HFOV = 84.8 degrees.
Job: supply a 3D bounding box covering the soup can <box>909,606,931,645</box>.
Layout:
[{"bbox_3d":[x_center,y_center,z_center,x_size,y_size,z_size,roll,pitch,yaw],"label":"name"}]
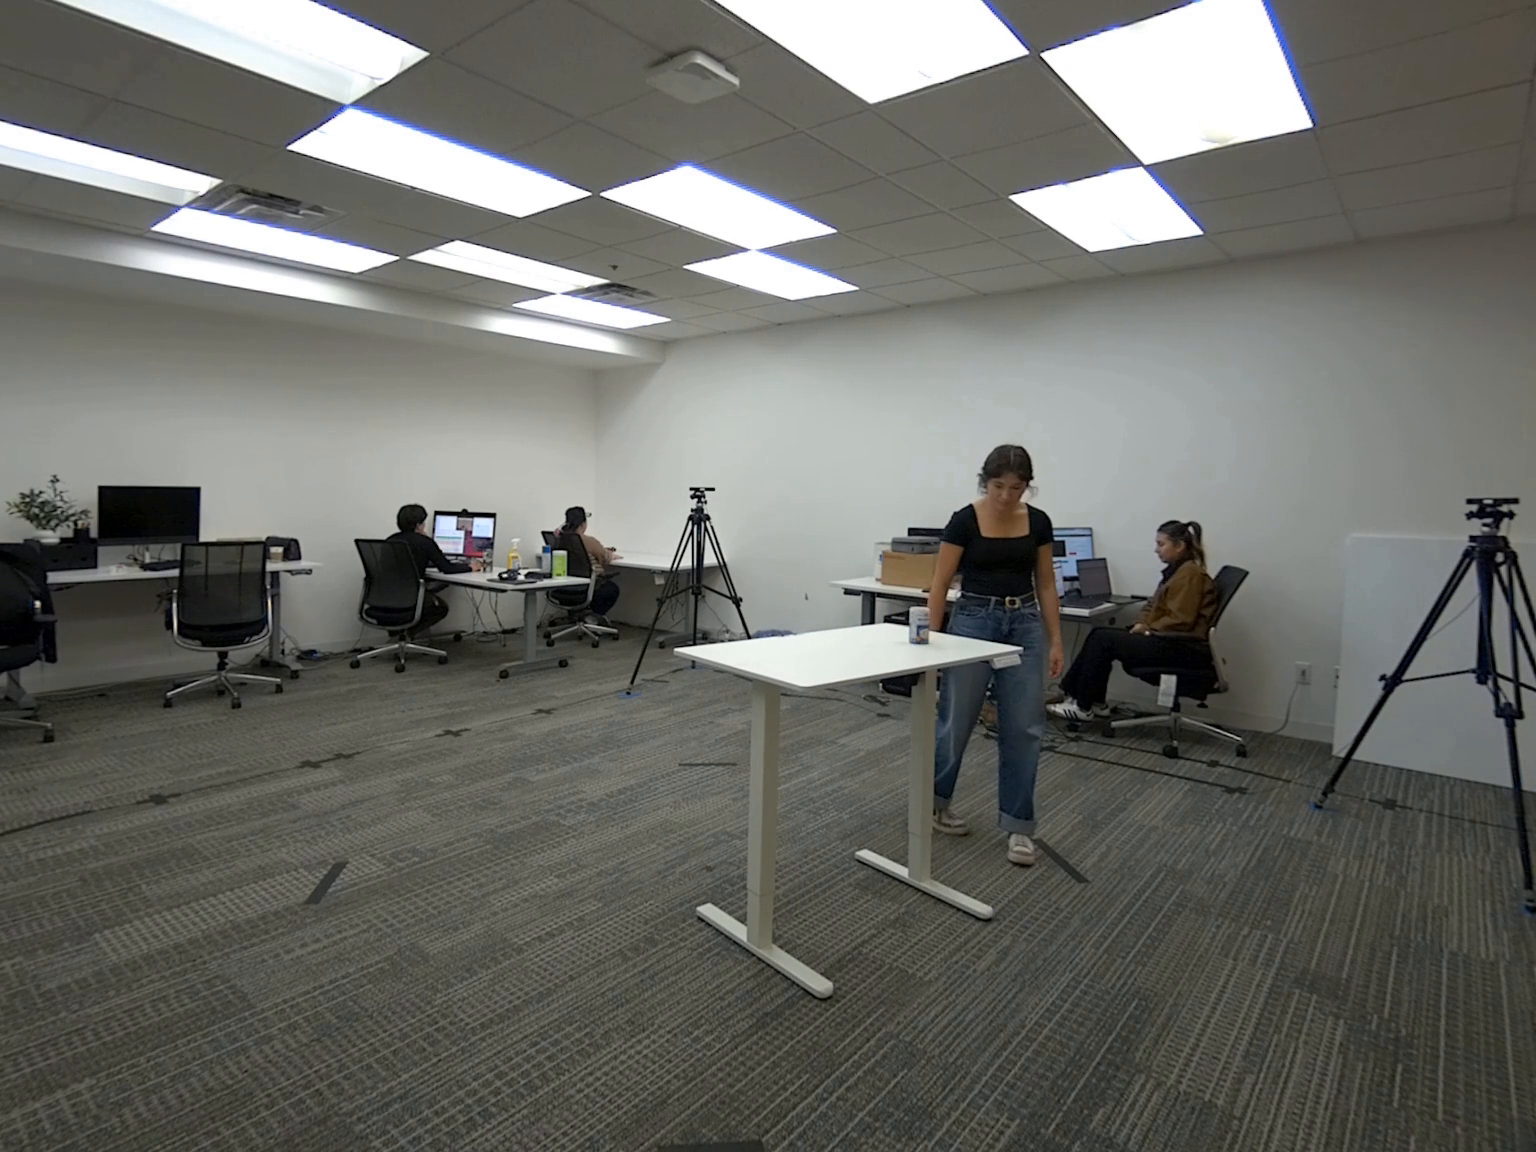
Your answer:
[{"bbox_3d":[0.502,0.167,2.857,0.067,0.121,0.067,-2,5,-2],"label":"soup can"}]
